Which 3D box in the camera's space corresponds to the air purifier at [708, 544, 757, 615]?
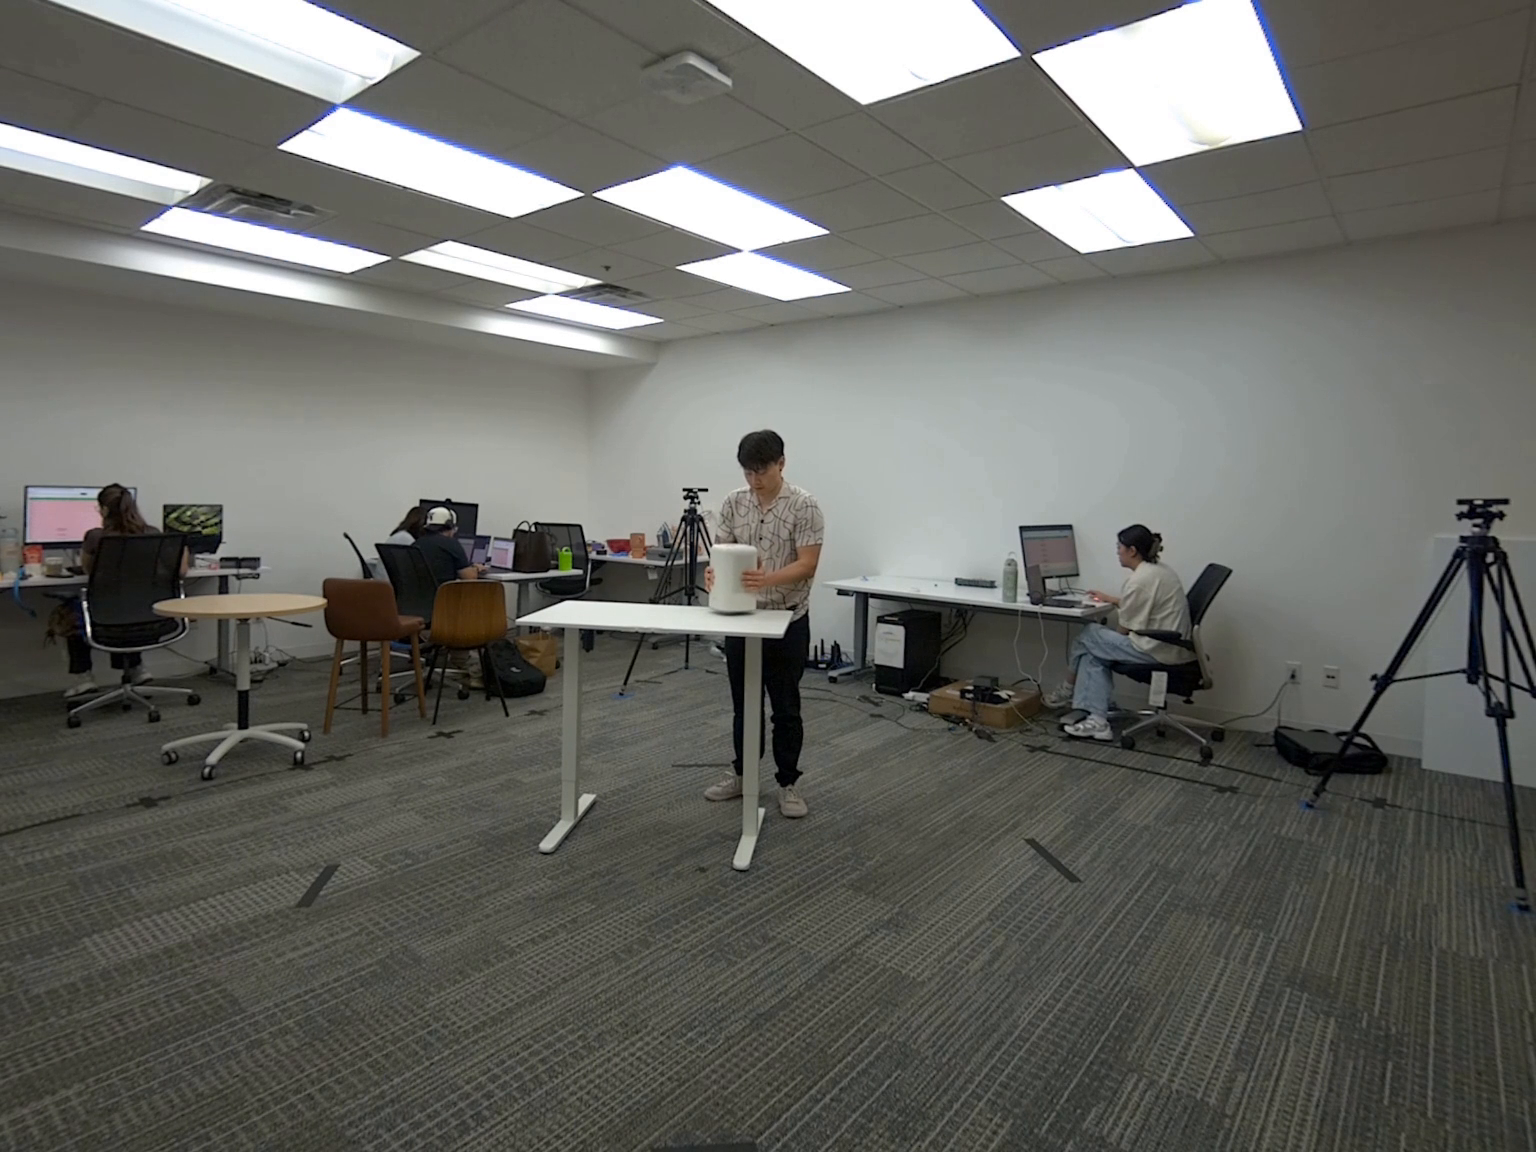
[{"bbox_3d":[-0.155,-0.001,3.510,0.167,0.264,0.176,0,4,-27],"label":"air purifier"}]
